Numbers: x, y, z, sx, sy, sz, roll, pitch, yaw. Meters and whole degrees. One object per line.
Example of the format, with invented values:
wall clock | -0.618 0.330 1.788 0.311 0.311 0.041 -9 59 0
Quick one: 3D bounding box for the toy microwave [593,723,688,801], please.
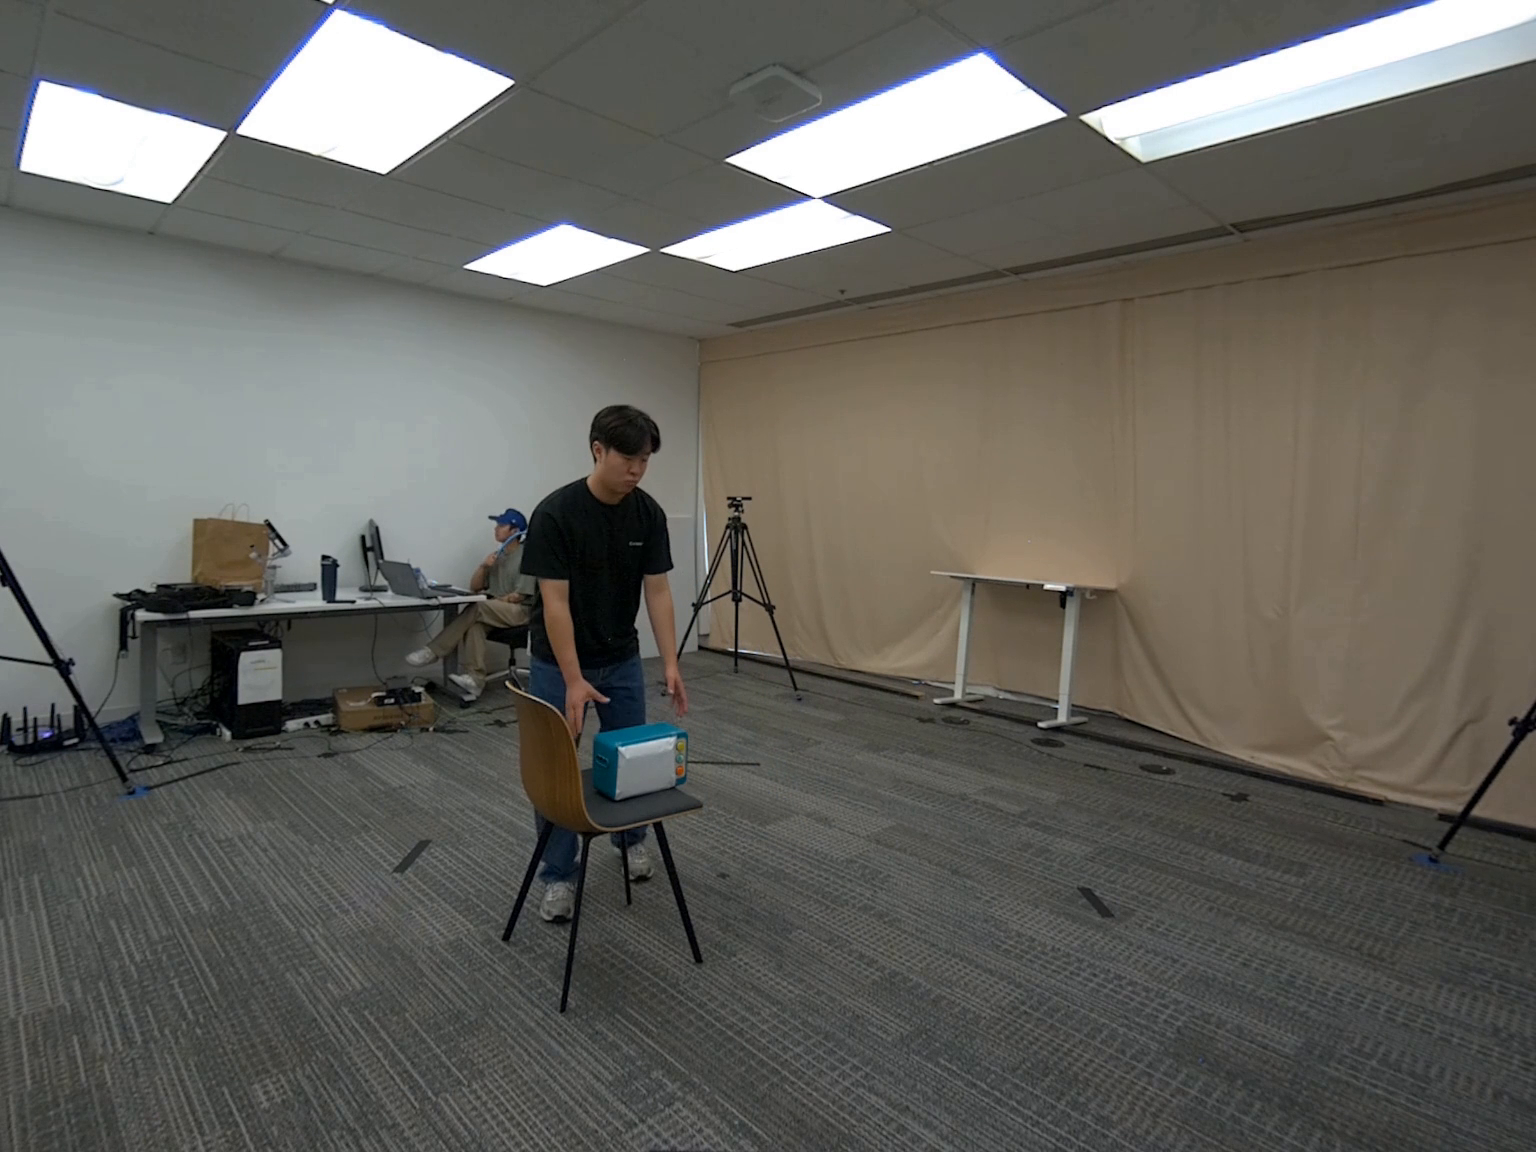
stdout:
toy microwave | -0.395 0.577 2.615 0.280 0.183 0.156 -2 5 -39
